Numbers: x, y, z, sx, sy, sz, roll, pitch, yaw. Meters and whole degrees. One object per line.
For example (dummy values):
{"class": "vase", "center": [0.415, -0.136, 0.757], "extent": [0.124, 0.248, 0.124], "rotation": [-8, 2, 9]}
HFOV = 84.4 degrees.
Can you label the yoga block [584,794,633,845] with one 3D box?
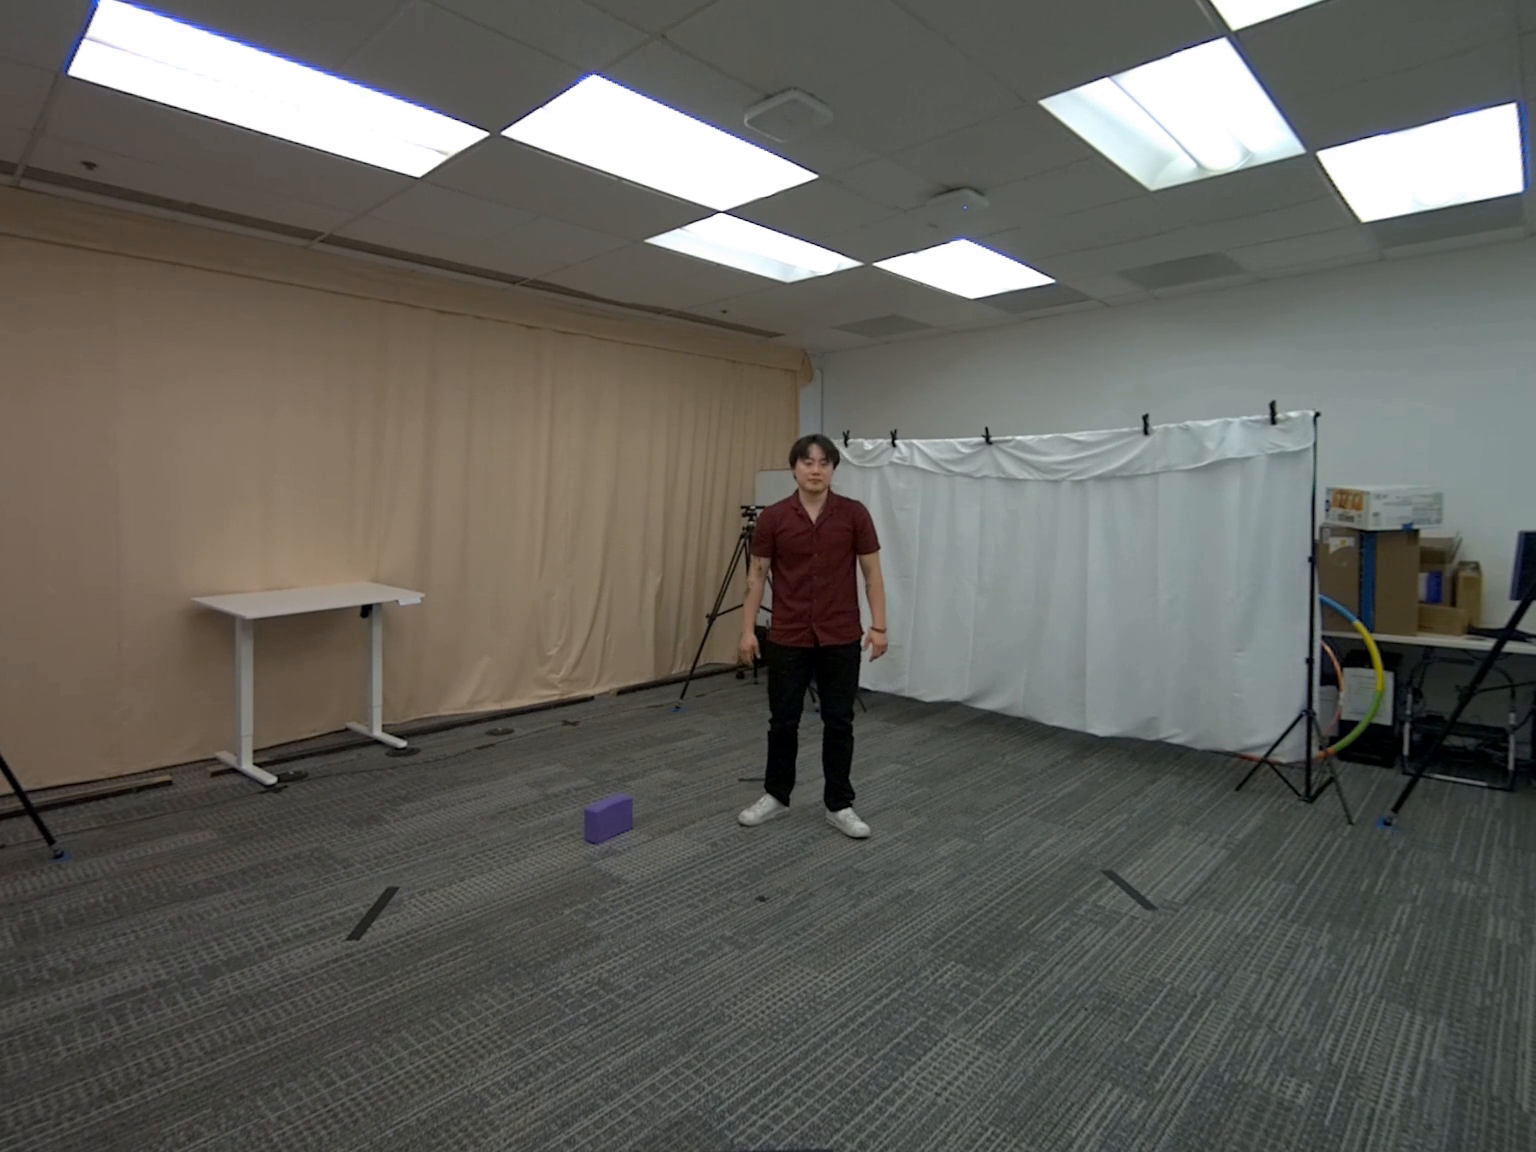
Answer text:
{"class": "yoga block", "center": [-0.675, 1.024, 3.576], "extent": [0.079, 0.148, 0.223], "rotation": [3, 5, 35]}
